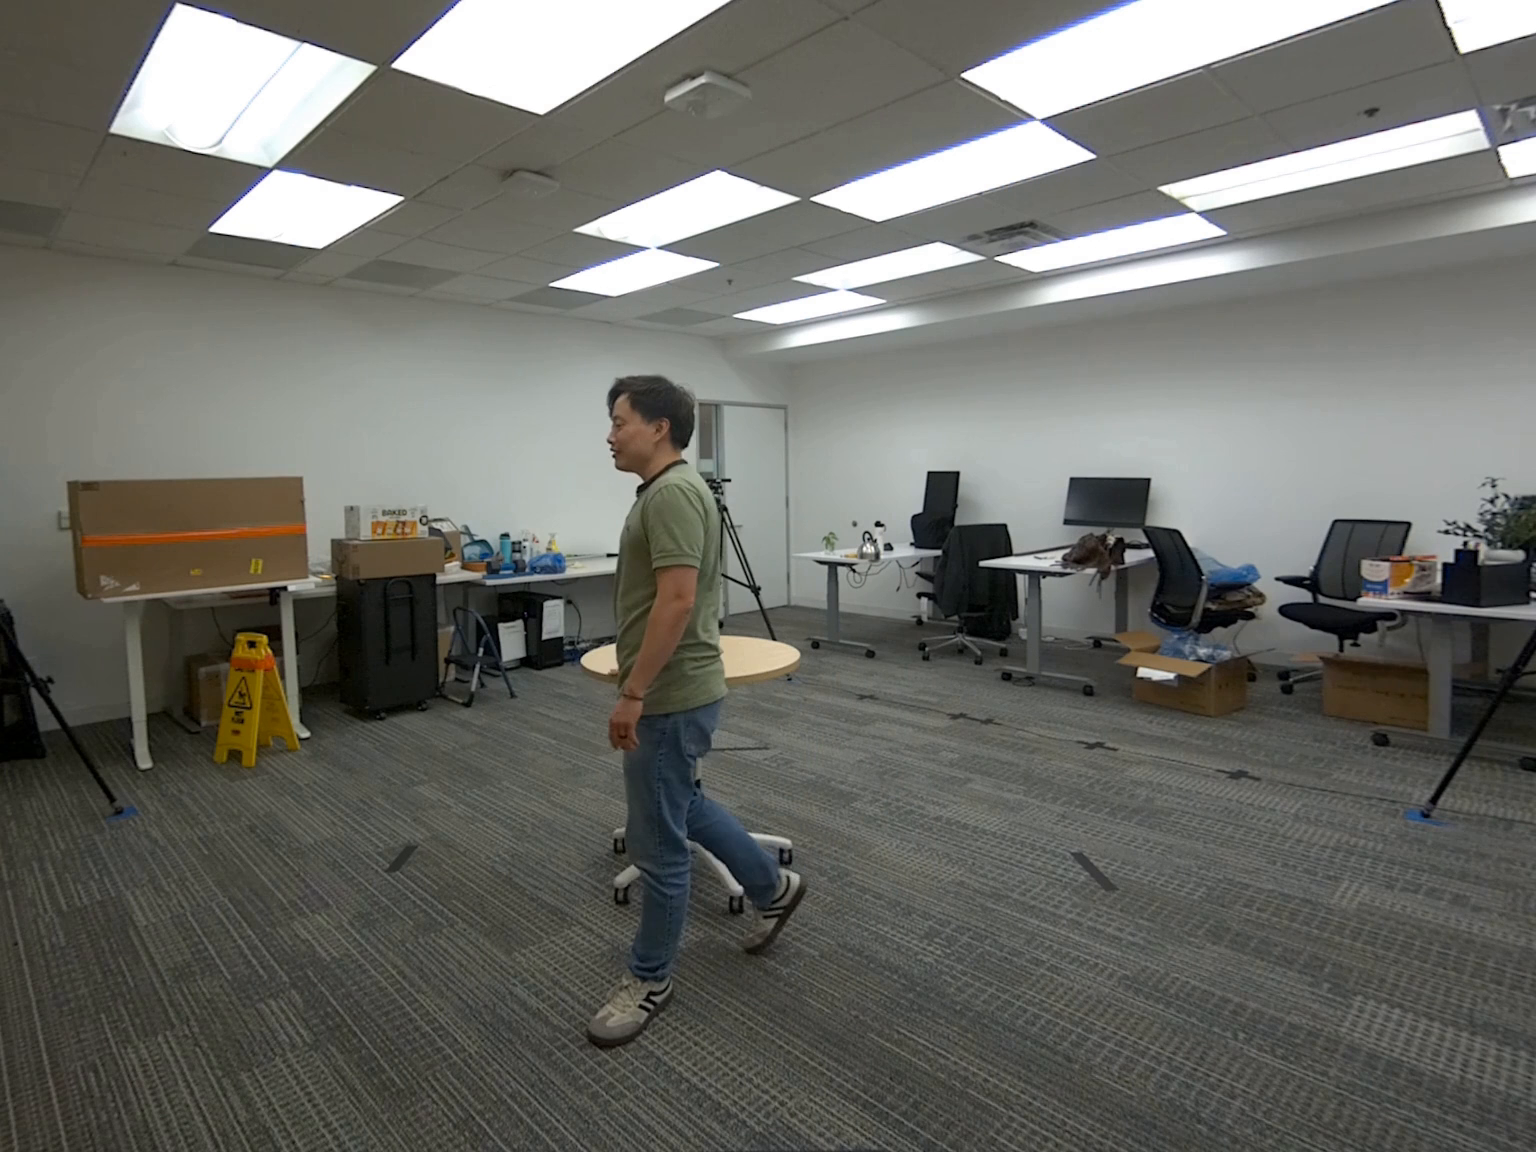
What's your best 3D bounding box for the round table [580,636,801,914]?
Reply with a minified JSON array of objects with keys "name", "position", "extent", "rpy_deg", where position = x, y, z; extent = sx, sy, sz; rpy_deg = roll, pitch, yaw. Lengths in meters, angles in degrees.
[{"name":"round table","position":[-0.262,0.669,3.022],"extent":[0.763,0.791,0.768],"rpy_deg":[-1,5,-2]}]
